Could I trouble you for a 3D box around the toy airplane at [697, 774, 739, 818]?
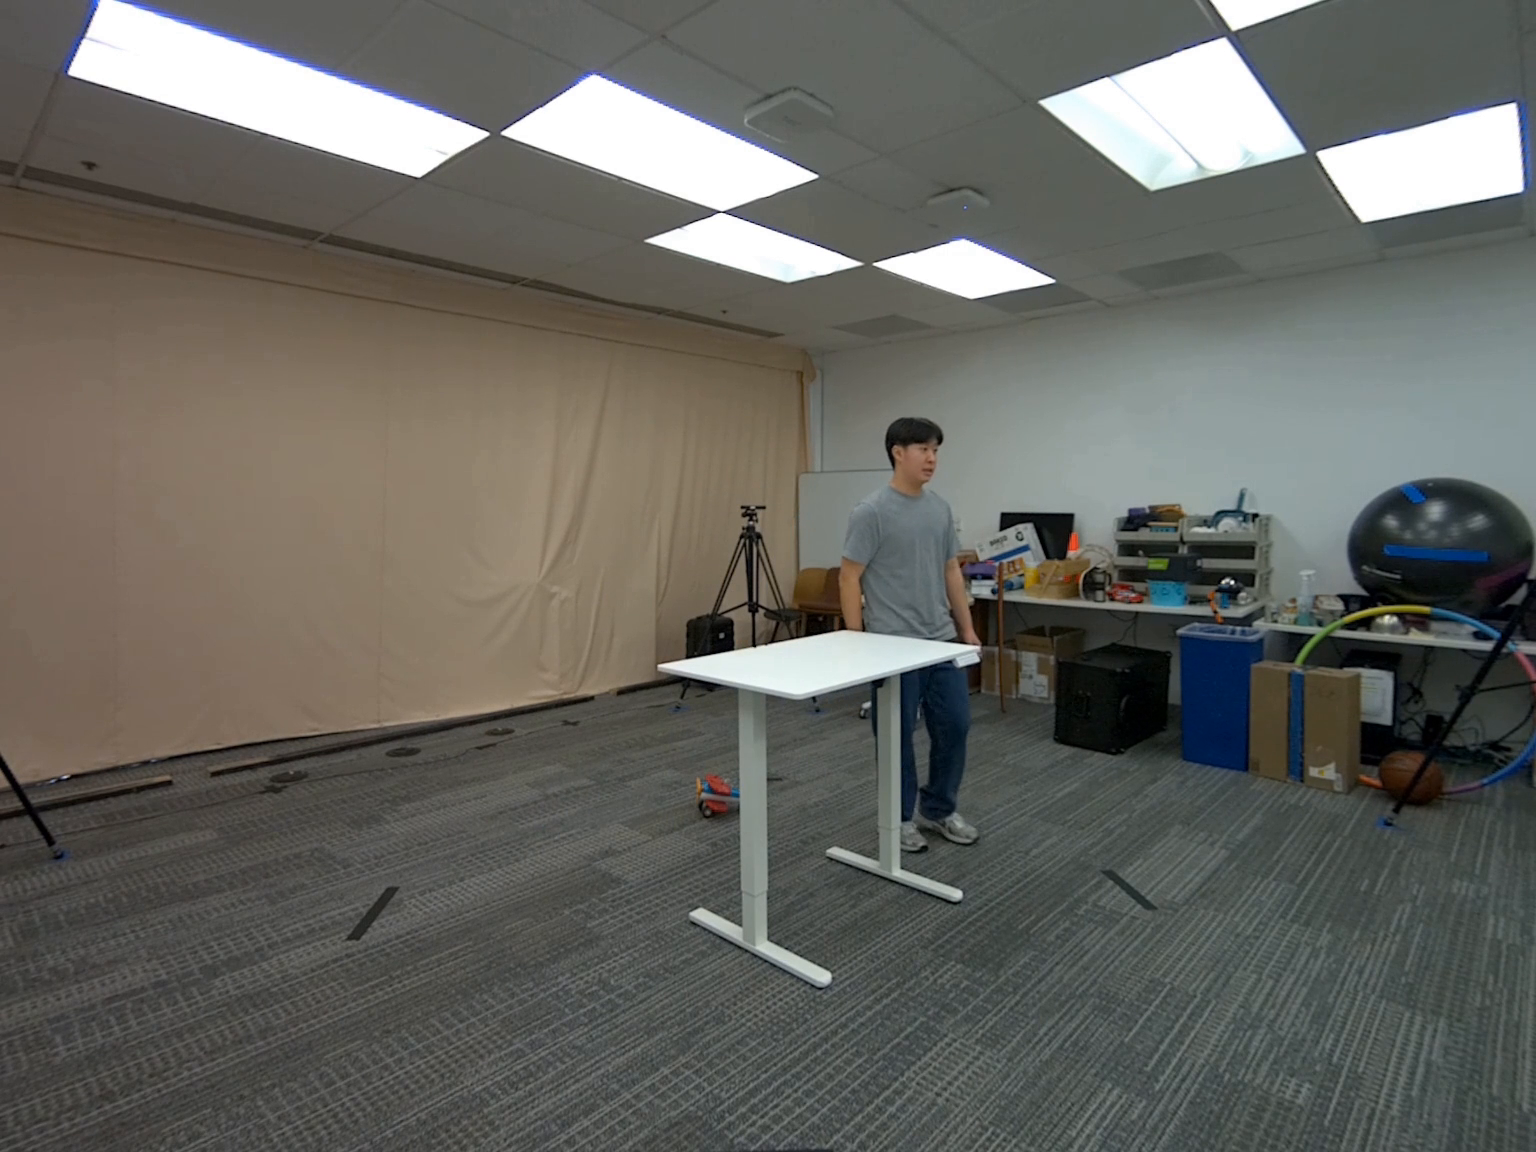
[{"bbox_3d":[-0.208,1.002,3.848,0.251,0.156,0.259,-5,6,-43],"label":"toy airplane"}]
